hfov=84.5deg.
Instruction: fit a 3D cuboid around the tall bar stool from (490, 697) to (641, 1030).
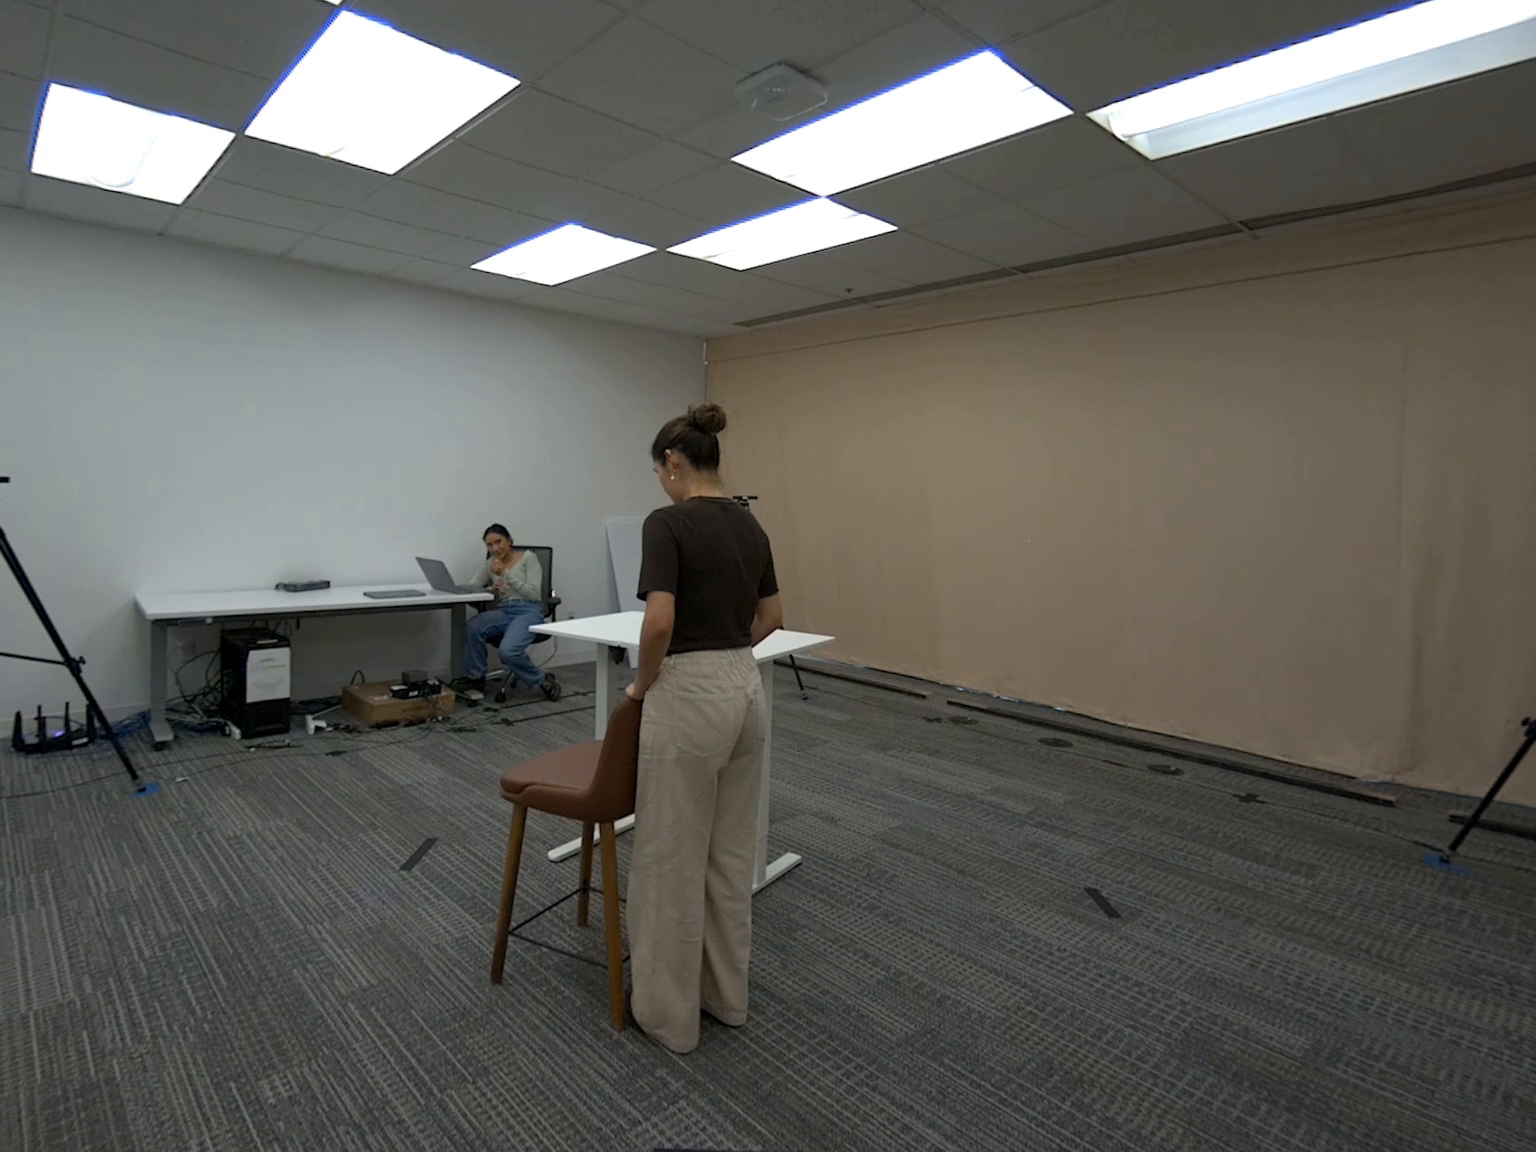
[{"bbox_3d":[-0.484,0.723,2.417,0.478,0.887,0.448,6,5,30],"label":"tall bar stool"}]
